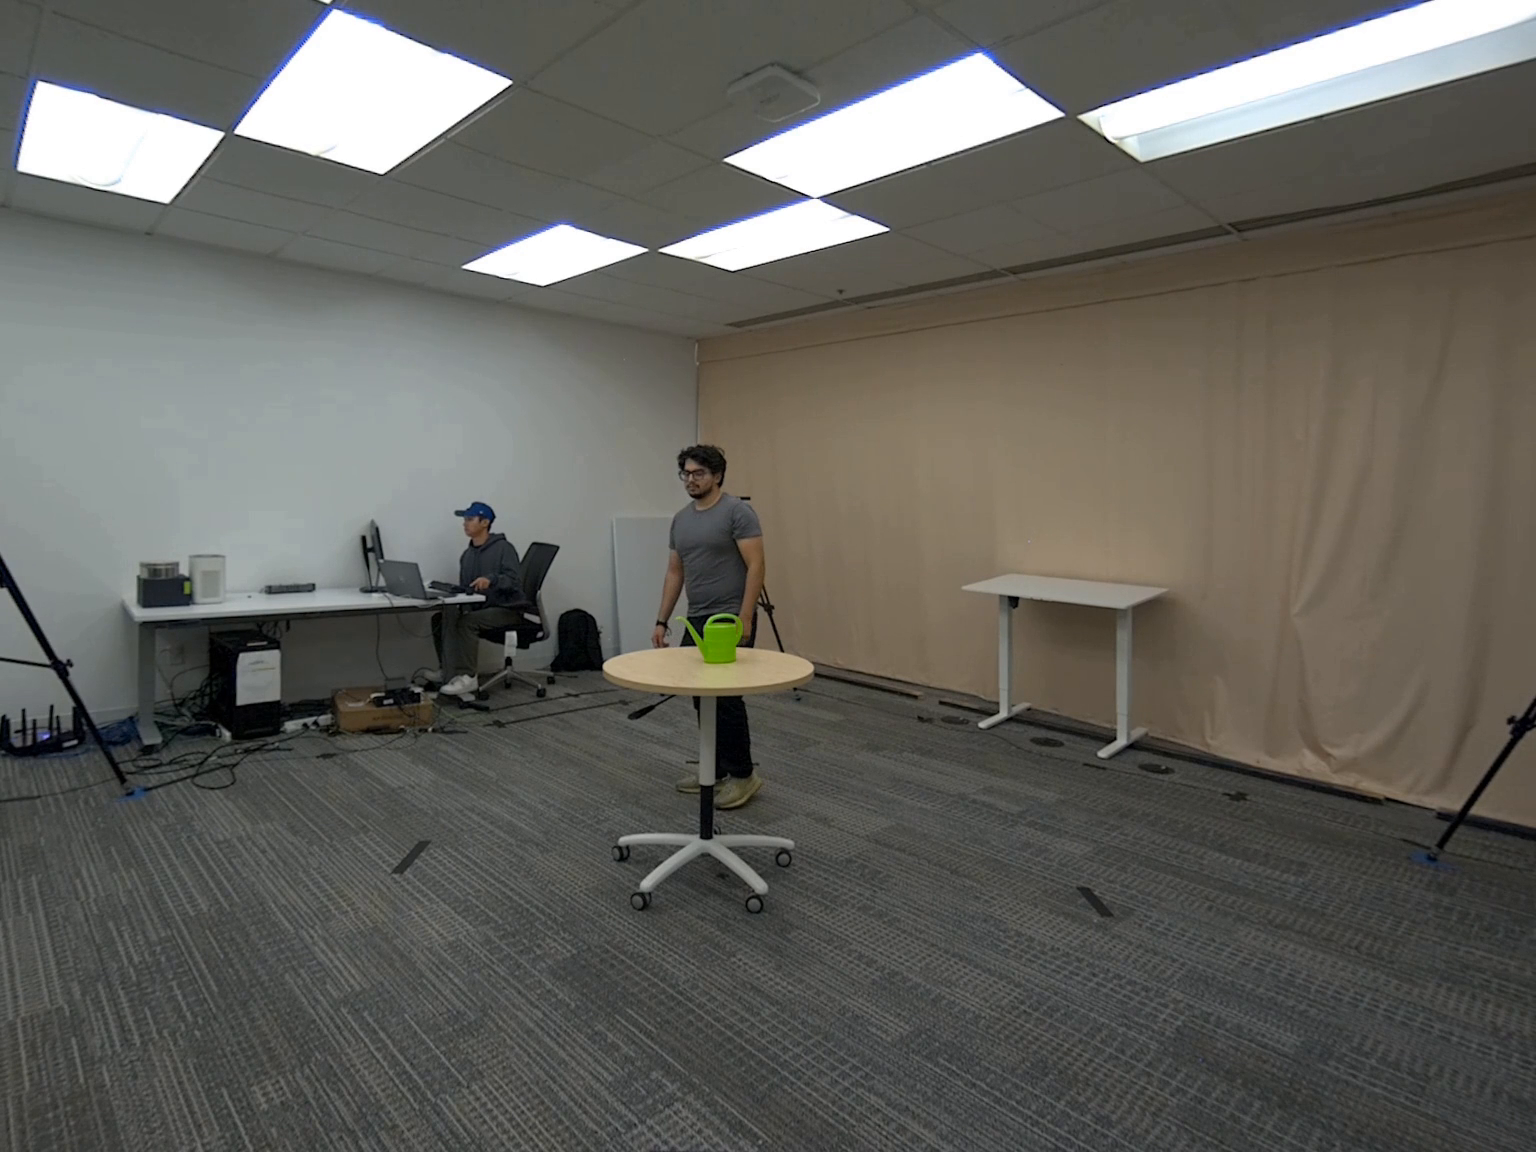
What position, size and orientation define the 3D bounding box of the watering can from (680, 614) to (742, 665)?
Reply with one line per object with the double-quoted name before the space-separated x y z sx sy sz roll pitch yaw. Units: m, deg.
"watering can" -0.232 0.231 3.122 0.274 0.176 0.099 1 4 -18
